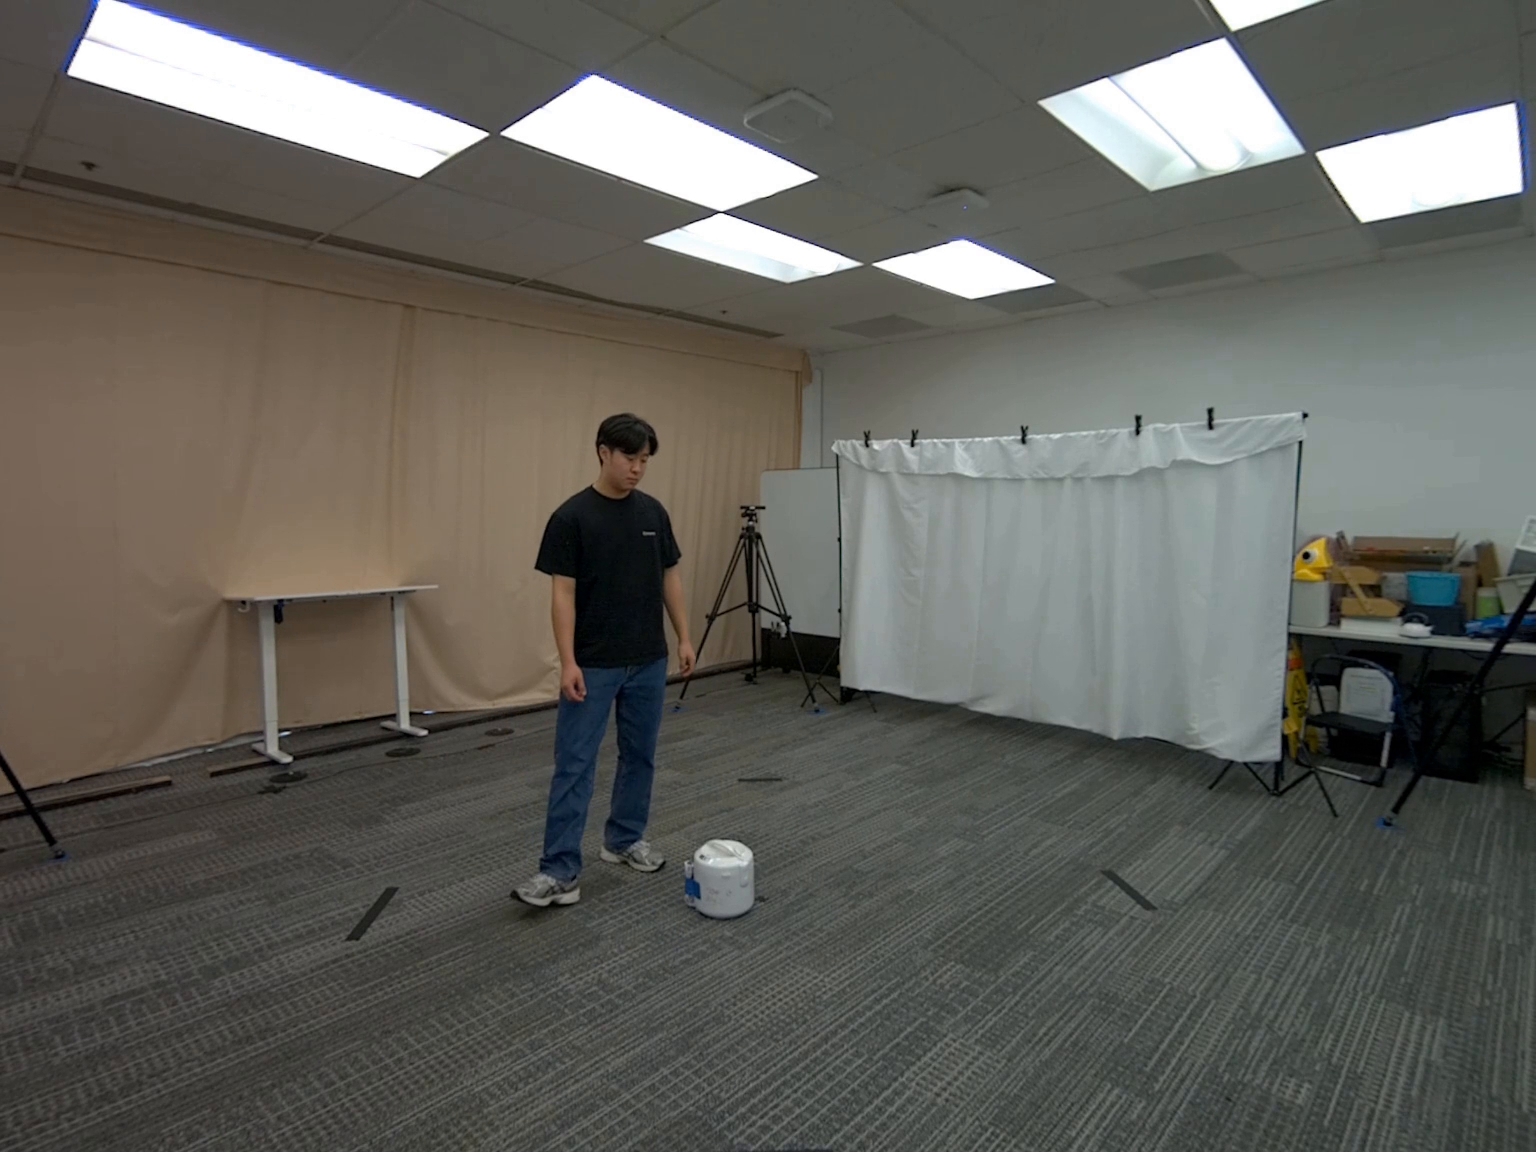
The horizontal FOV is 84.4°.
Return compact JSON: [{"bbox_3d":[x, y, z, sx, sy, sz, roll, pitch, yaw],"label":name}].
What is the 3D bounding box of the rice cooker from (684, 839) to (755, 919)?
[{"bbox_3d":[-0.147,1.036,2.912,0.211,0.232,0.228,-4,5,-45],"label":"rice cooker"}]
